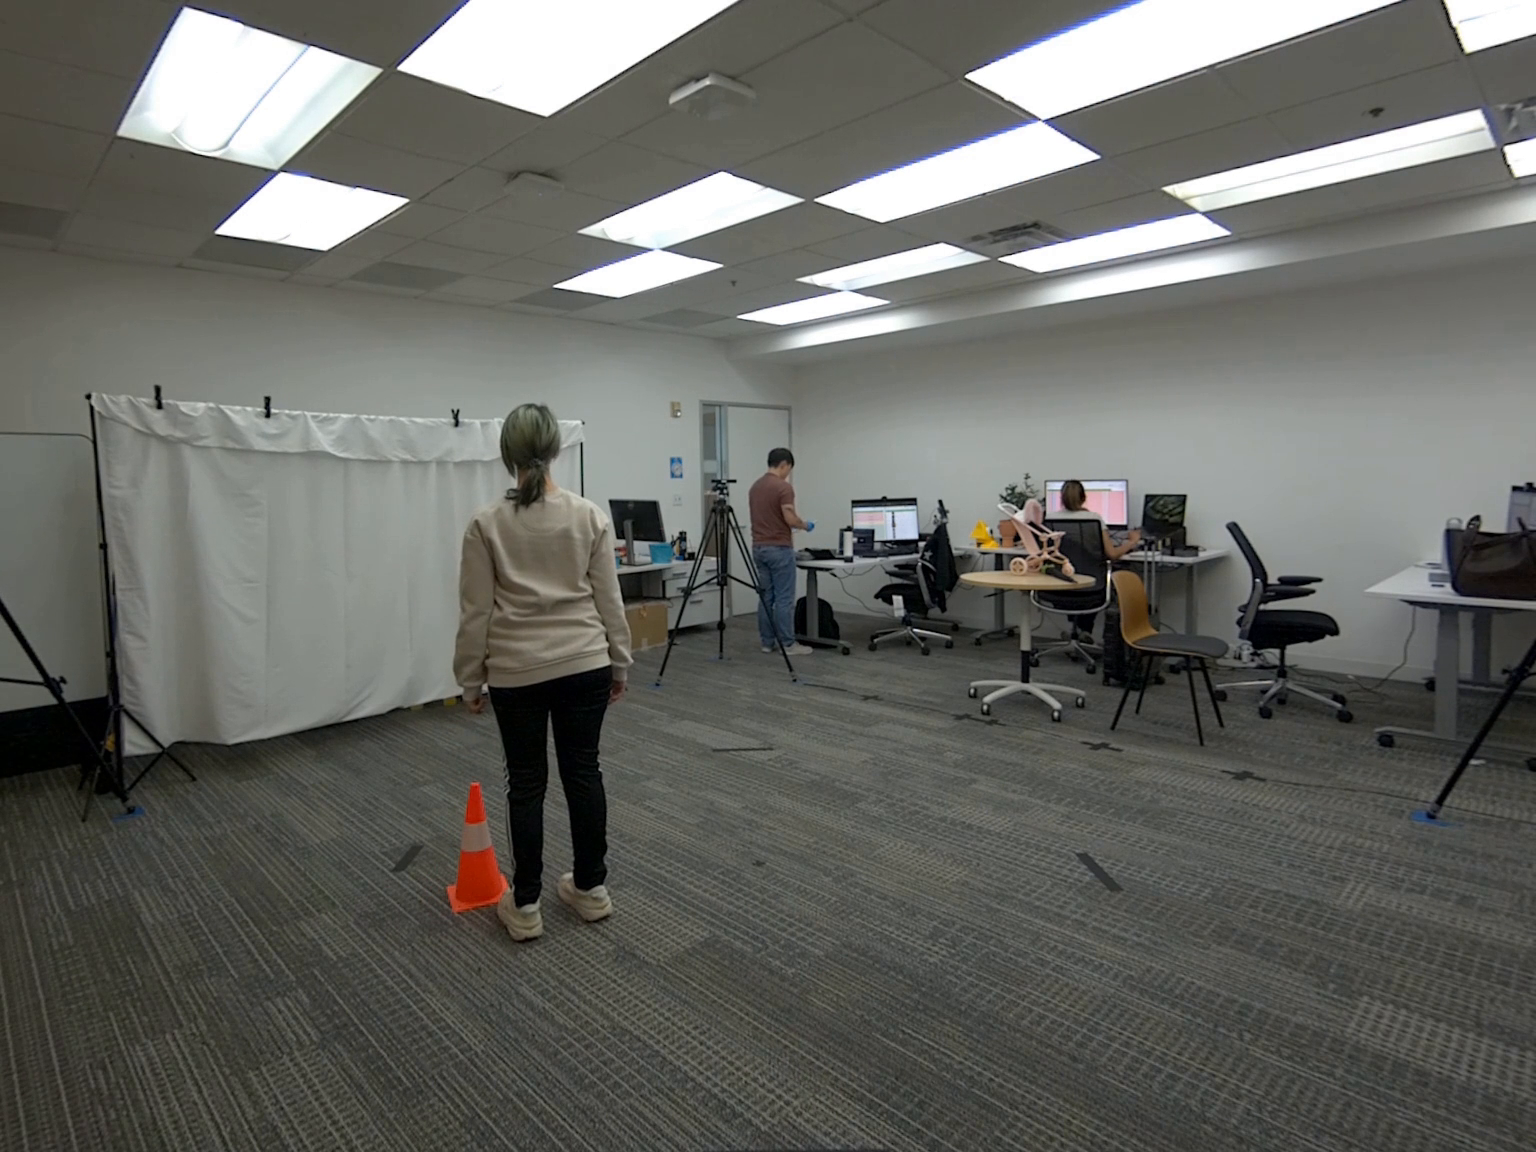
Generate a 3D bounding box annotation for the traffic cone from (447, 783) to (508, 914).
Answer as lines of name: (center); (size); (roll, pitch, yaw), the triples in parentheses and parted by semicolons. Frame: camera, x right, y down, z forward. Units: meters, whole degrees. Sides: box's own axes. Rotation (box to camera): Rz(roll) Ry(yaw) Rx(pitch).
traffic cone: (-0.989, 0.903, 2.918); (0.201, 0.382, 0.207); (-2, 5, -19)
